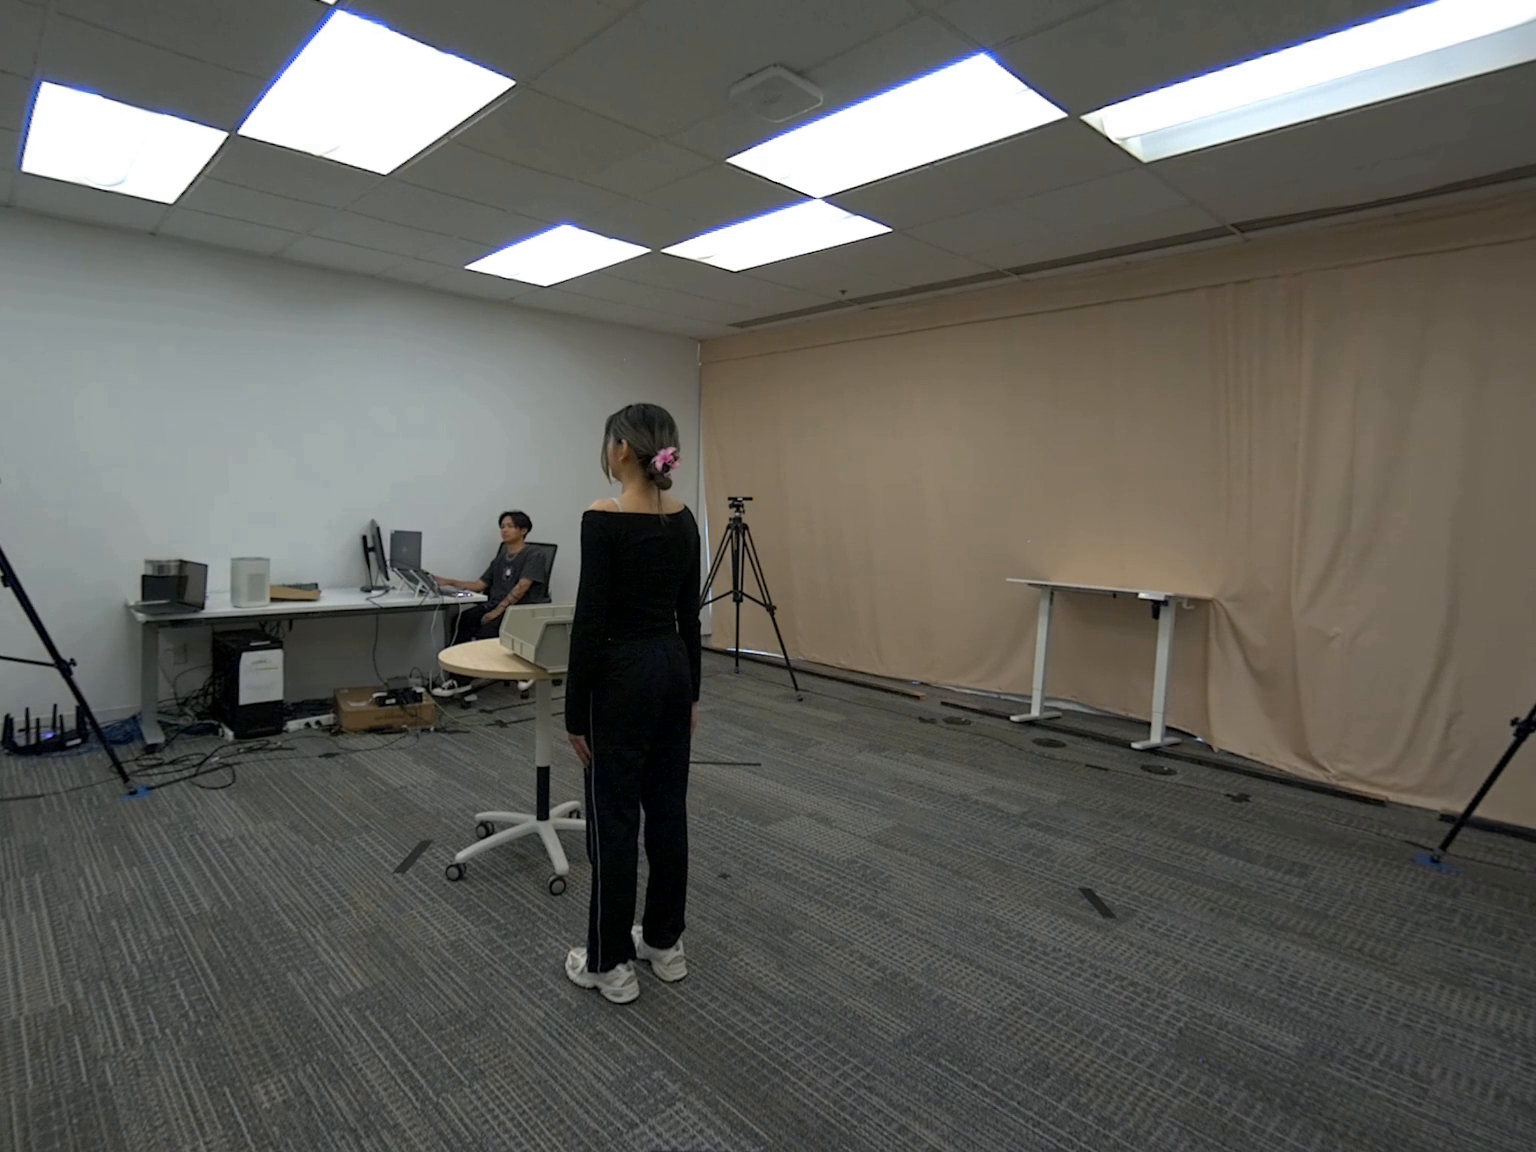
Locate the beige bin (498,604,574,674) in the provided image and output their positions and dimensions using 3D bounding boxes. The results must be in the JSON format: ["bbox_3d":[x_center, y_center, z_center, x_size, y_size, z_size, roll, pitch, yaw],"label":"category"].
[{"bbox_3d":[-0.736,0.216,3.050,0.369,0.188,0.432,0,4,-33],"label":"beige bin"}]
